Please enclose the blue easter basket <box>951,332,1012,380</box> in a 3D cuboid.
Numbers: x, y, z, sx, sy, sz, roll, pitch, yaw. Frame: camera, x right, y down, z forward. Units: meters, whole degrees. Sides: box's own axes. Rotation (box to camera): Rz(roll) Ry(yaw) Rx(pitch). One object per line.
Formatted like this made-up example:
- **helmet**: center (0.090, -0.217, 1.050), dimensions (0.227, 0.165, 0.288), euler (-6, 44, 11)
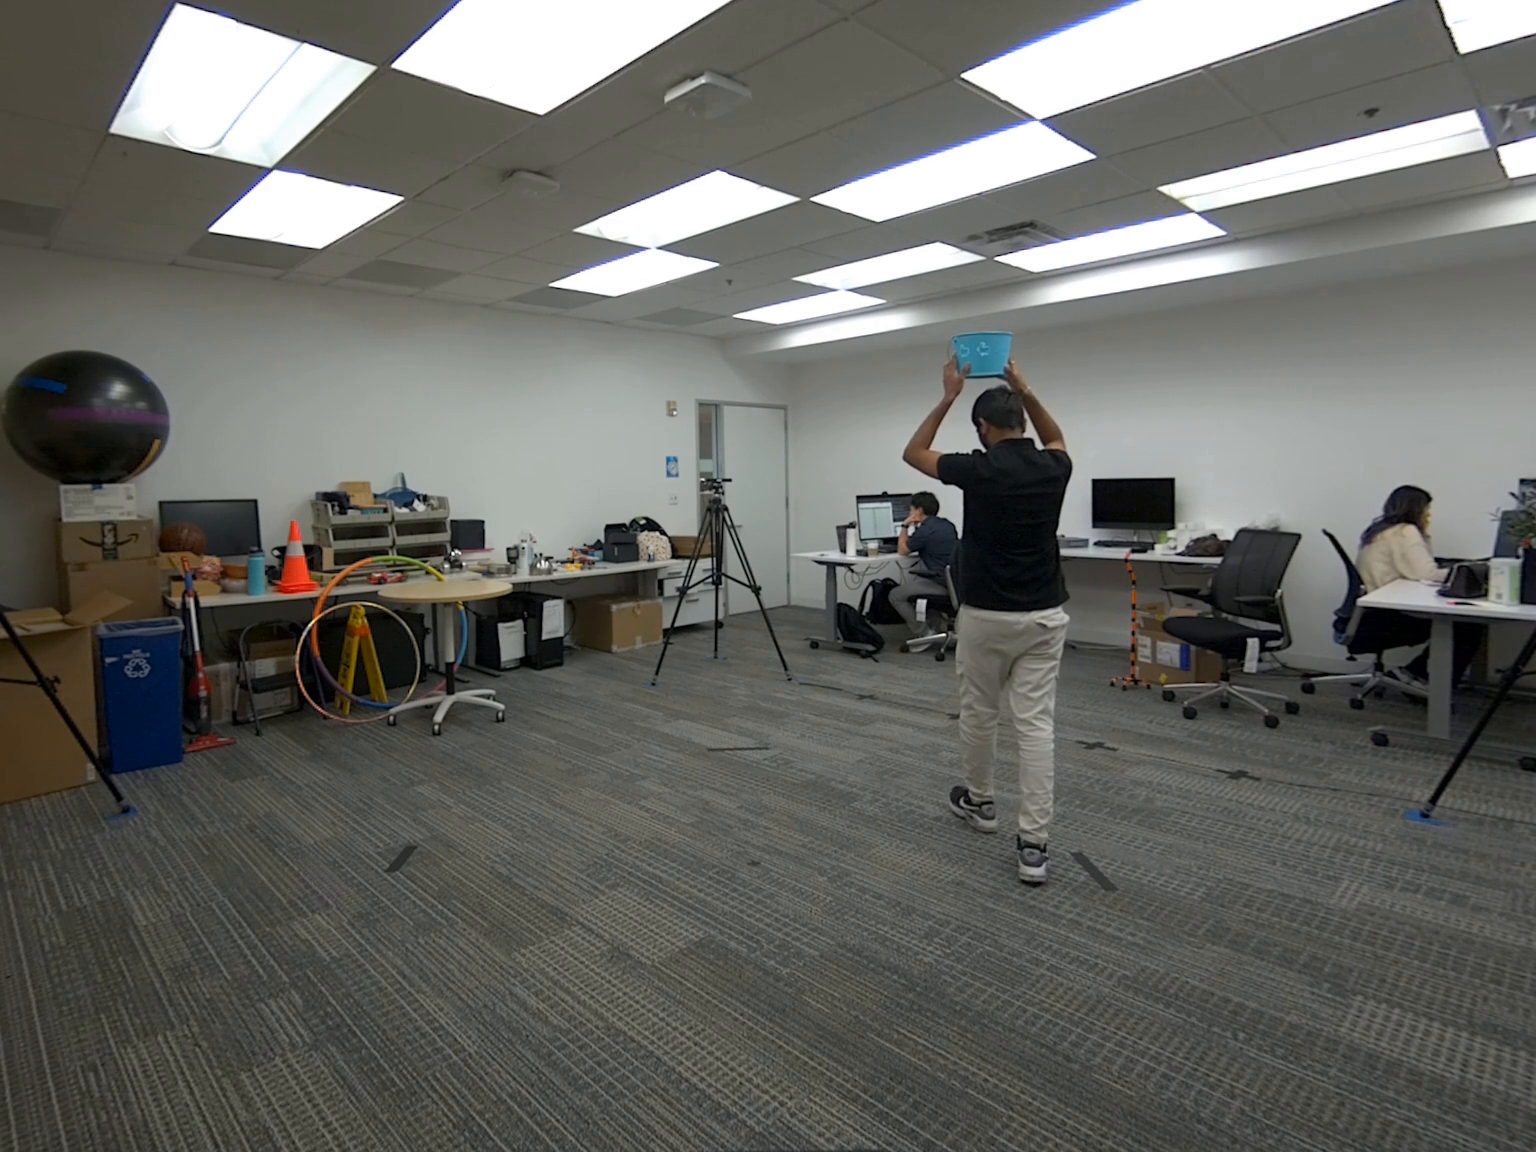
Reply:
- **blue easter basket**: center (0.831, -0.851, 3.293), dimensions (0.243, 0.155, 0.245), euler (0, 6, -2)
